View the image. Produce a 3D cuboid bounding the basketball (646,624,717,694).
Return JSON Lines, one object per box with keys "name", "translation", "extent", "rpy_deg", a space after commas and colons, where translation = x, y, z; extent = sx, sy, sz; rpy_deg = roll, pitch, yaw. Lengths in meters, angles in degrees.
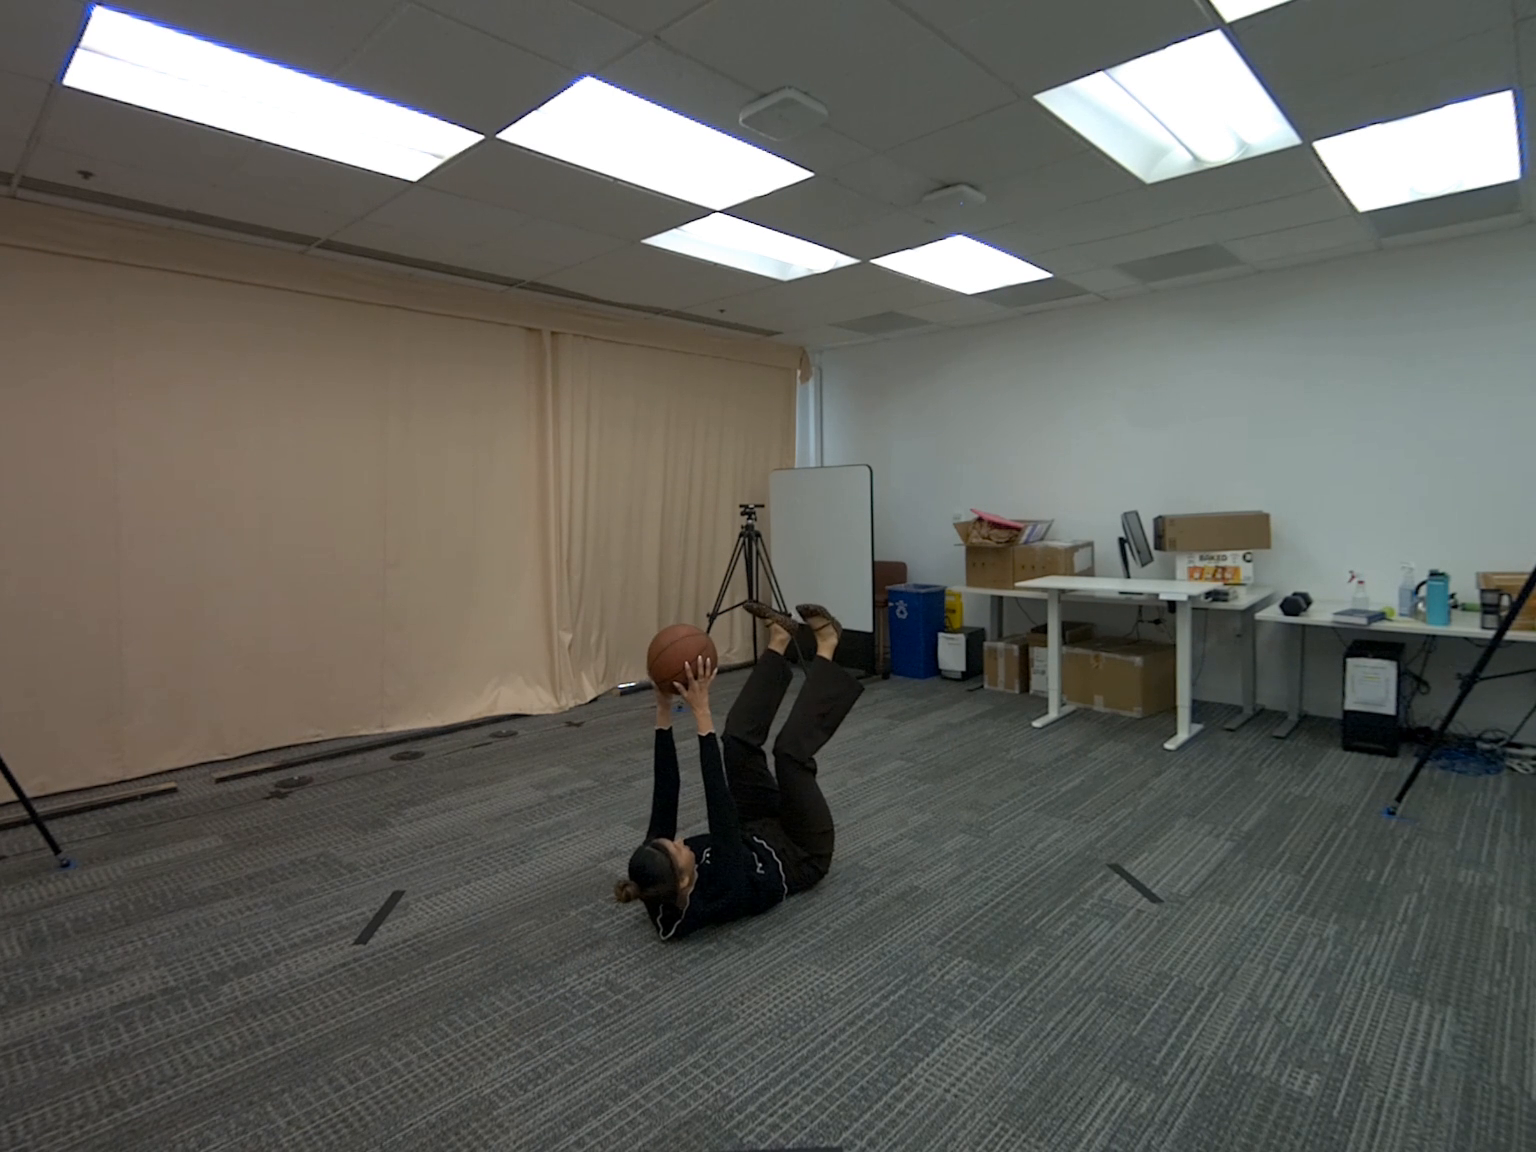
{"name": "basketball", "translation": [-0.284, 0.277, 2.803], "extent": [0.236, 0.235, 0.237], "rpy_deg": [-1, 4, -2]}
